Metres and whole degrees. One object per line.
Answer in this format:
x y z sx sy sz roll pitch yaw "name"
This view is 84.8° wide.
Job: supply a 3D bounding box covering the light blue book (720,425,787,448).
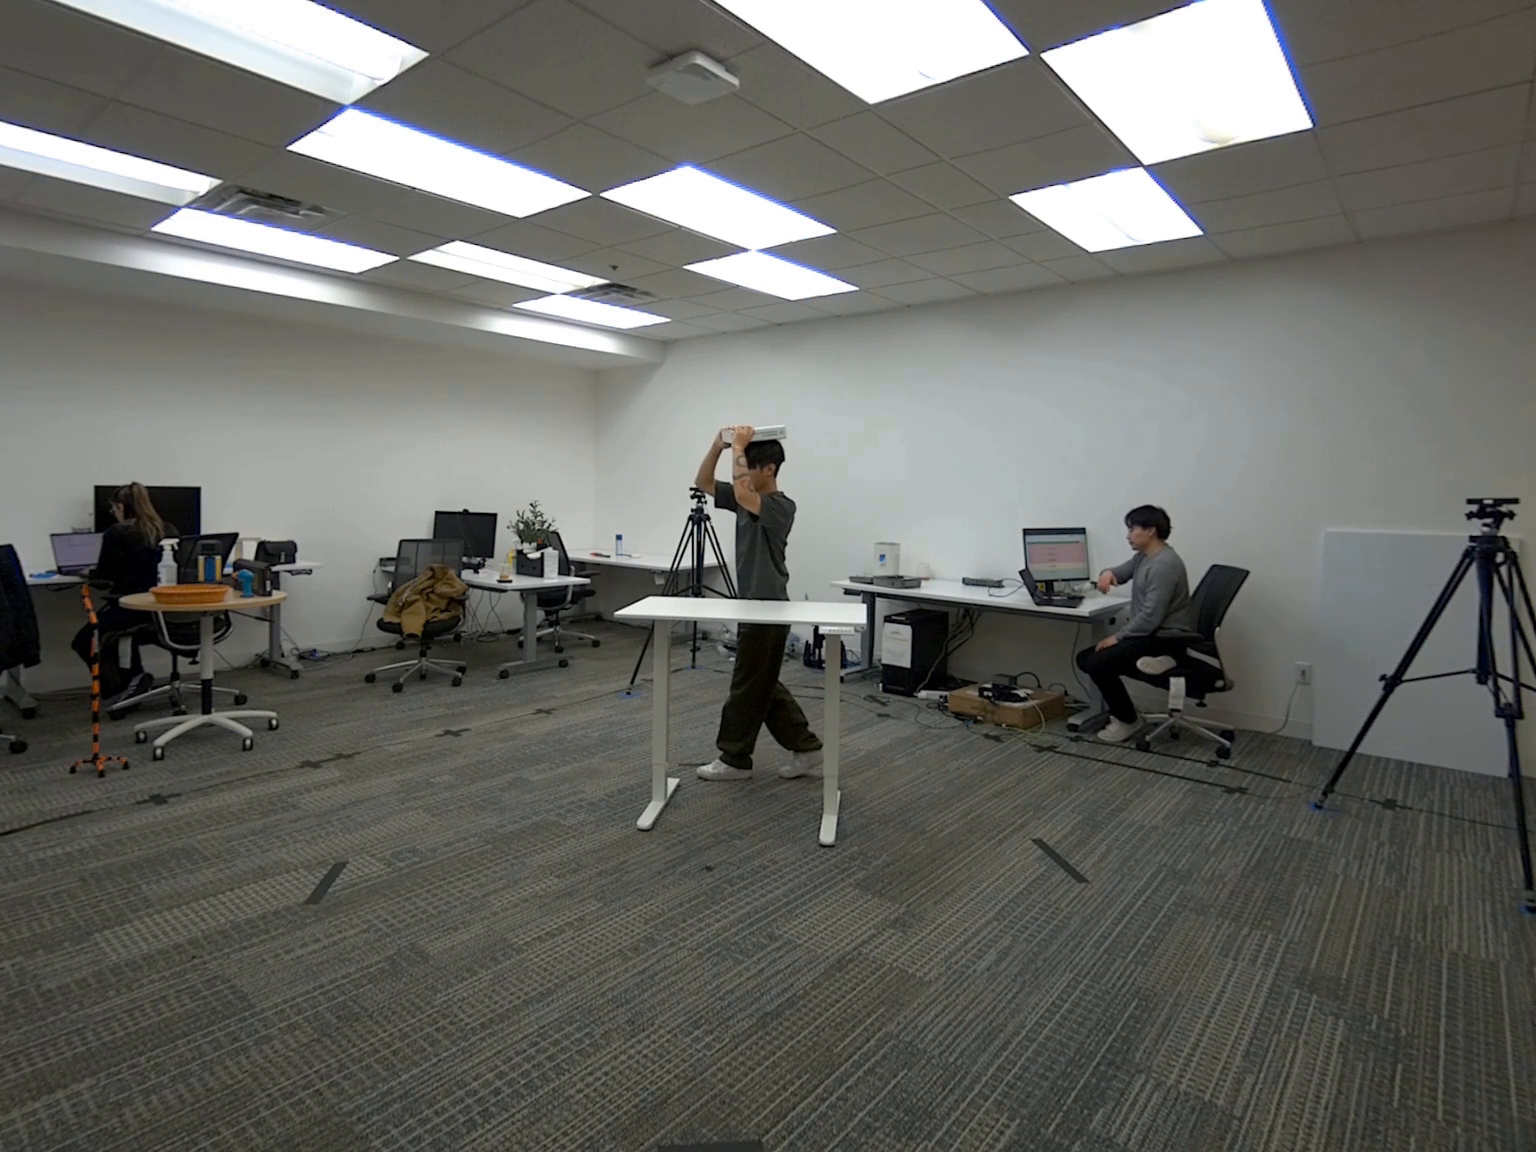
-0.080 -0.668 3.963 0.258 0.058 0.196 -7 13 -12 "light blue book"
